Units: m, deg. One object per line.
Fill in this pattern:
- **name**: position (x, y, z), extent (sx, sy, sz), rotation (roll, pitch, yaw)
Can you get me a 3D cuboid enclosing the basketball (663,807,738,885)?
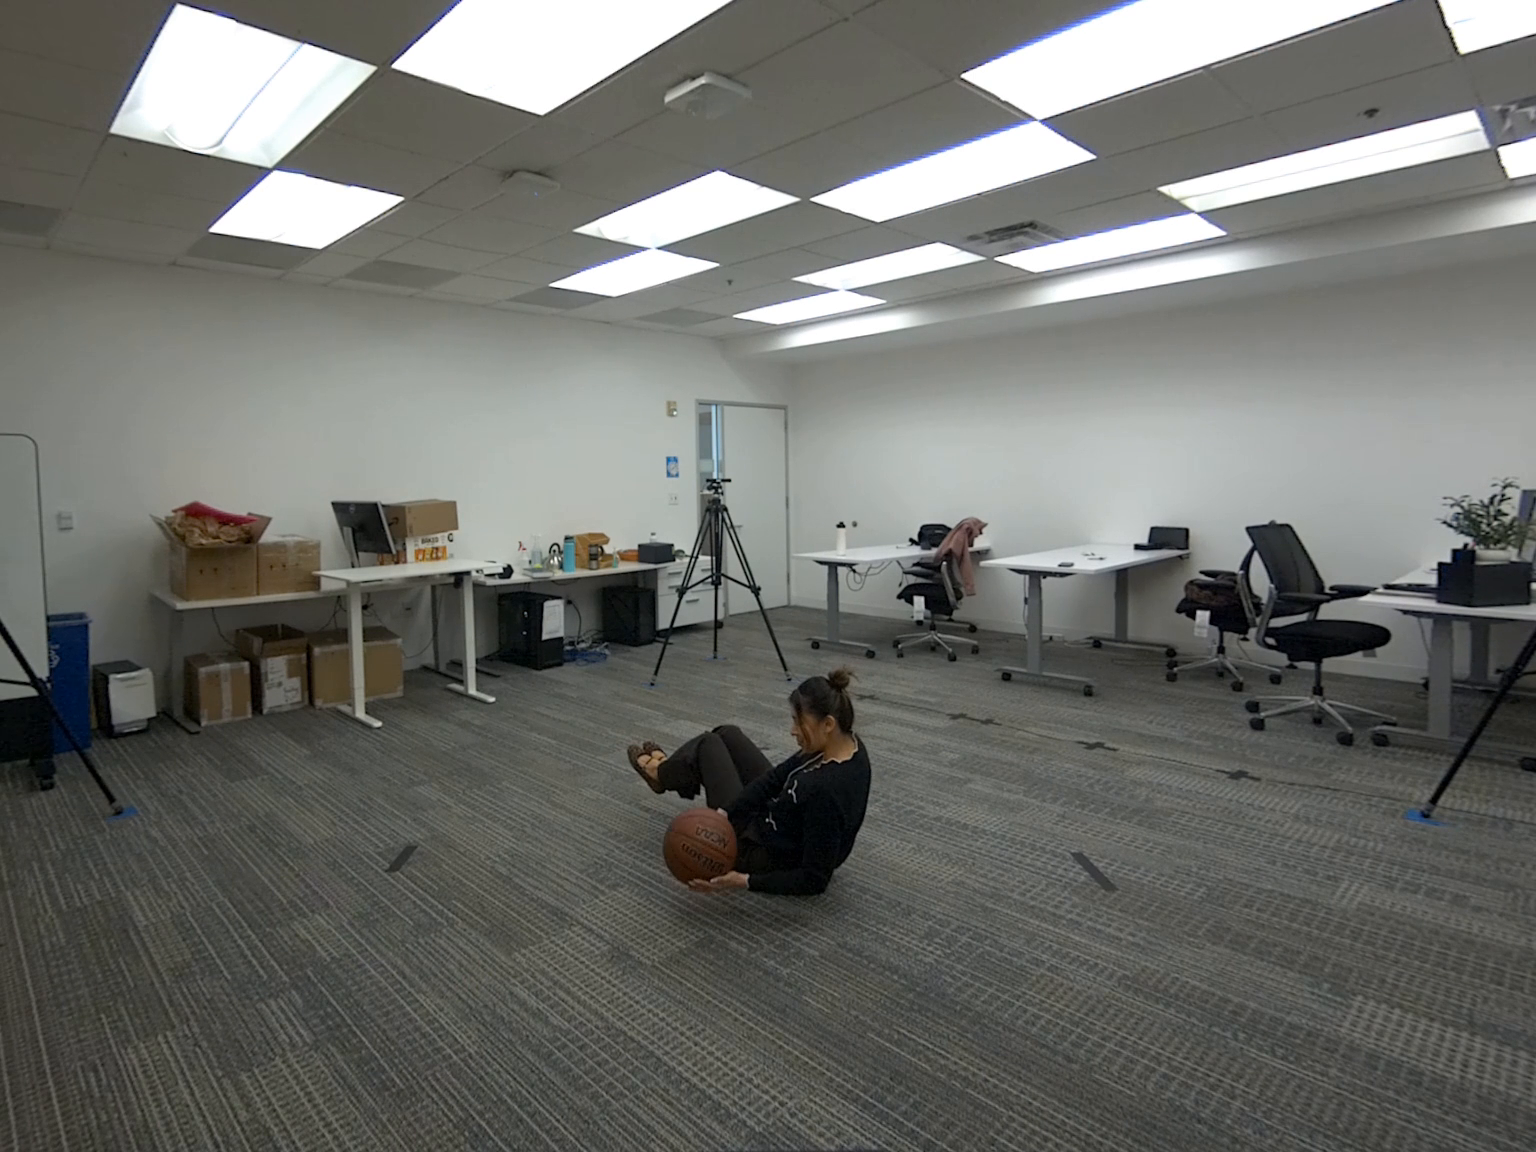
- **basketball**: position (-0.210, 0.847, 2.695), extent (0.236, 0.235, 0.237), rotation (-1, 5, -2)
